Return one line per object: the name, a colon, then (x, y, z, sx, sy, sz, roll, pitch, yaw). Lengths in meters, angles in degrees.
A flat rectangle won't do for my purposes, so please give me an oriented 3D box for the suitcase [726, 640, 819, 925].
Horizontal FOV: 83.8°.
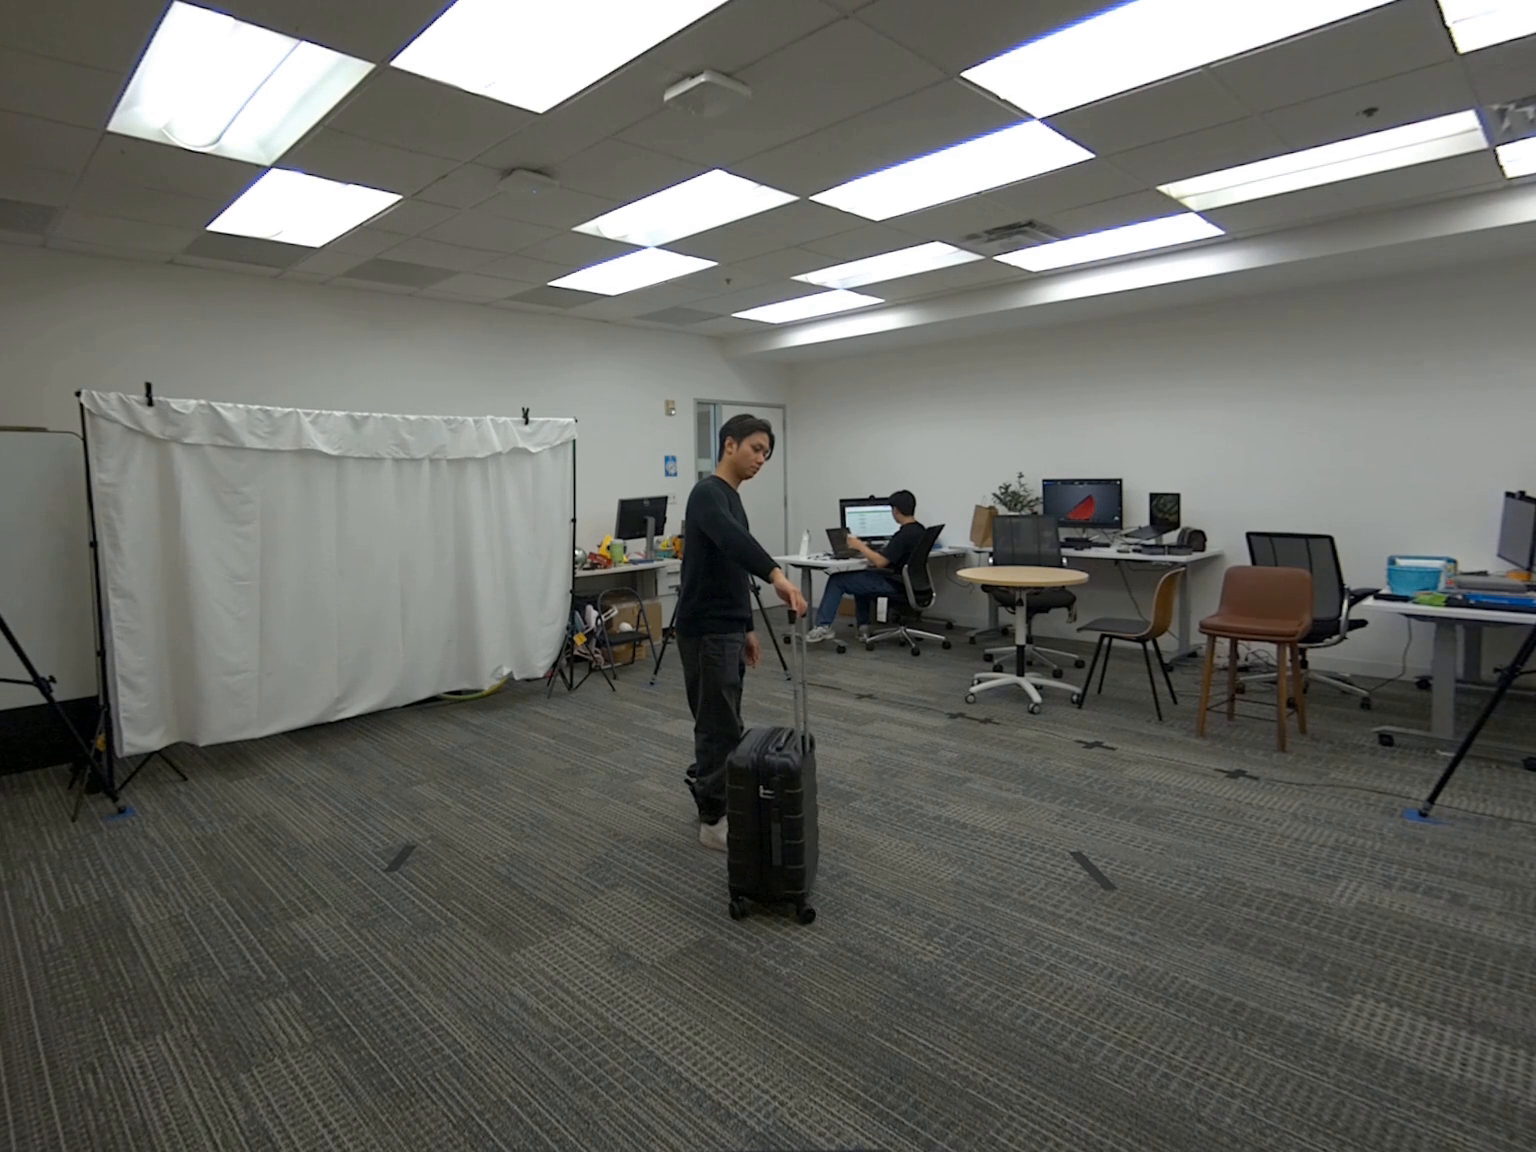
suitcase: (0.018, 0.598, 2.820, 0.260, 0.976, 0.381, -3, 3, 10)
